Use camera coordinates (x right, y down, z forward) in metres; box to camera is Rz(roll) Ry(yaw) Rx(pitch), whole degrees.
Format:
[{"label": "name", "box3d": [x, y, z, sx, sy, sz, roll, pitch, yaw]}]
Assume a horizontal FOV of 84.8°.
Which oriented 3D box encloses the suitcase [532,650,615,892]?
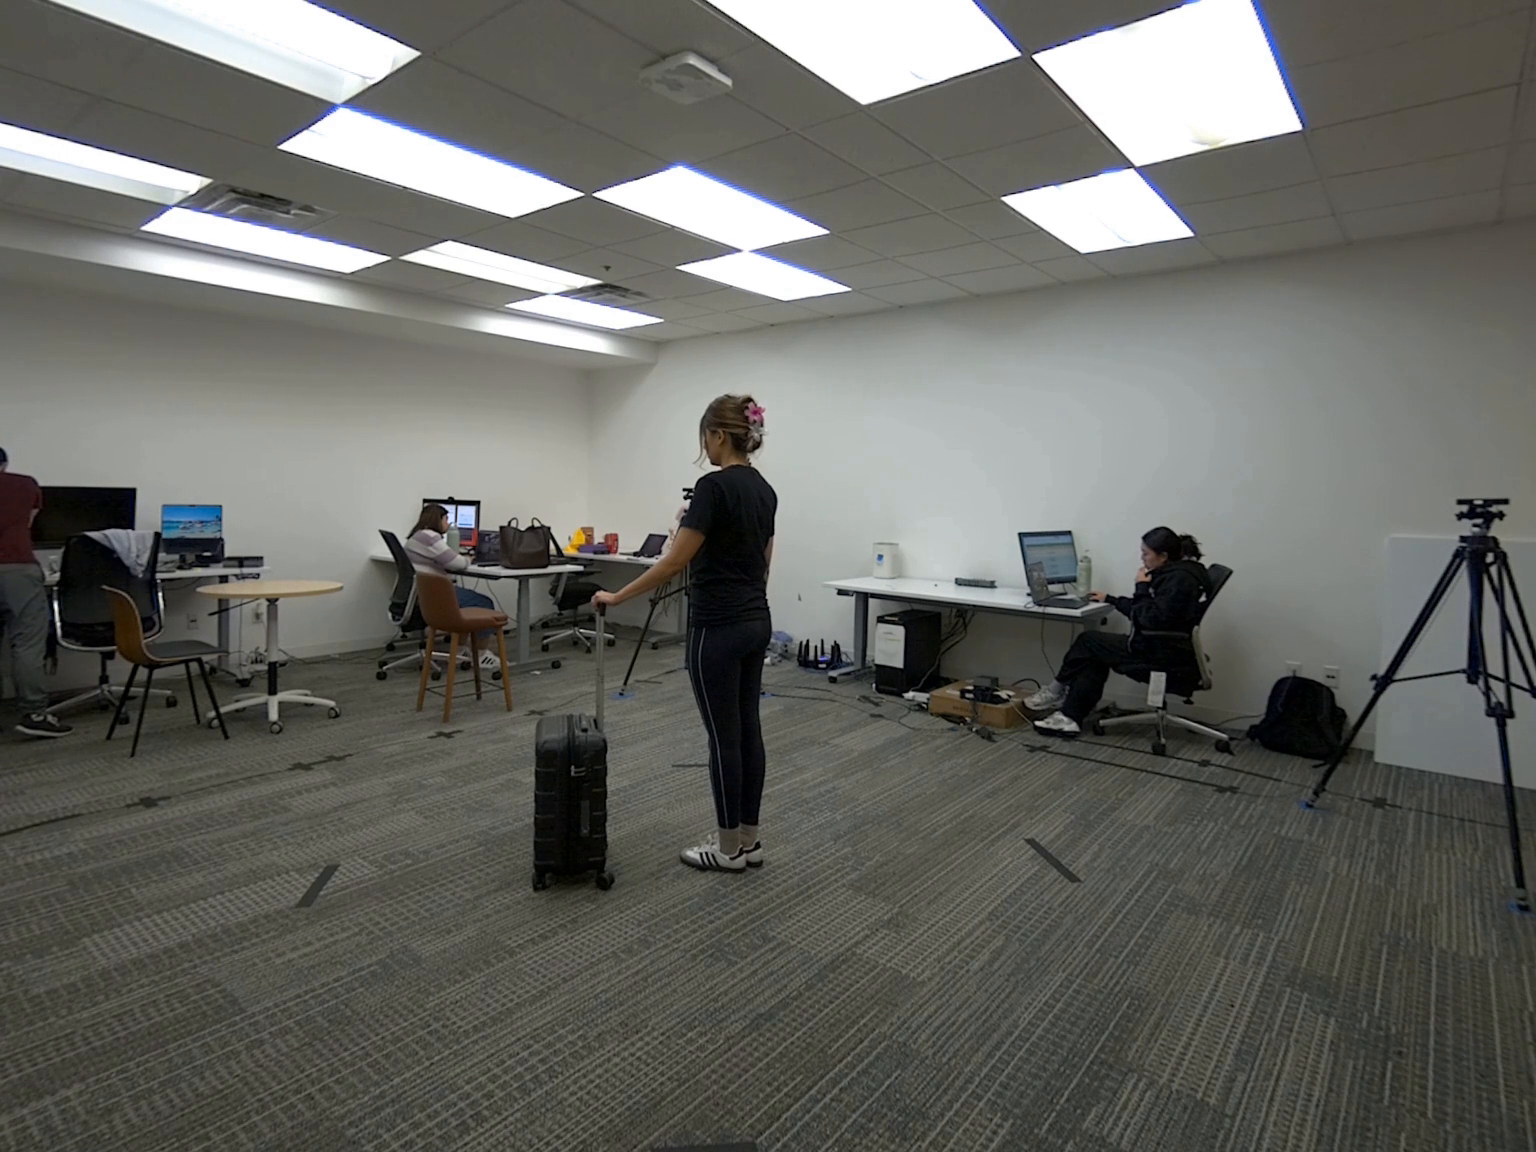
[{"label": "suitcase", "box3d": [-0.729, 0.591, 3.061, 0.254, 0.976, 0.389, -3, 3, -12]}]
